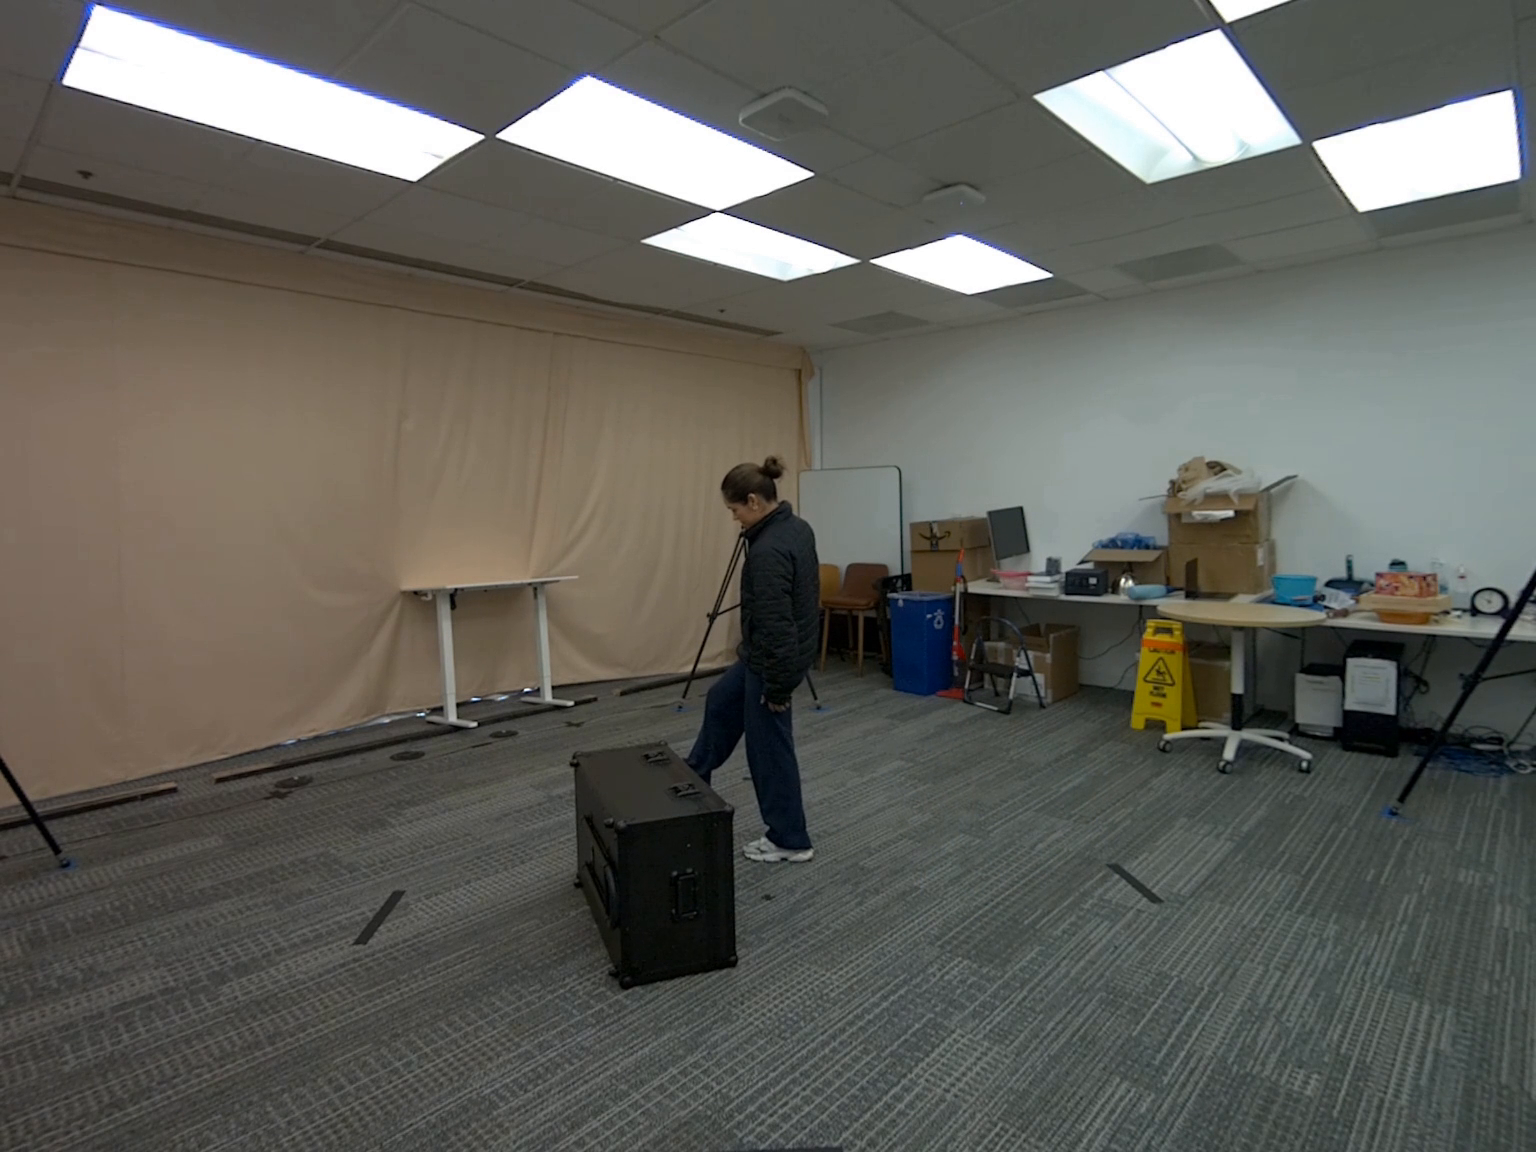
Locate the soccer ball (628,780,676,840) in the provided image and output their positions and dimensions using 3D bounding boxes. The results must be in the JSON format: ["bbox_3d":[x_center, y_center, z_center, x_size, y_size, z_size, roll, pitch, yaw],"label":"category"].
[{"bbox_3d":[-0.499,1.003,3.650,0.187,0.187,0.188,-1,4,-2],"label":"soccer ball"}]
